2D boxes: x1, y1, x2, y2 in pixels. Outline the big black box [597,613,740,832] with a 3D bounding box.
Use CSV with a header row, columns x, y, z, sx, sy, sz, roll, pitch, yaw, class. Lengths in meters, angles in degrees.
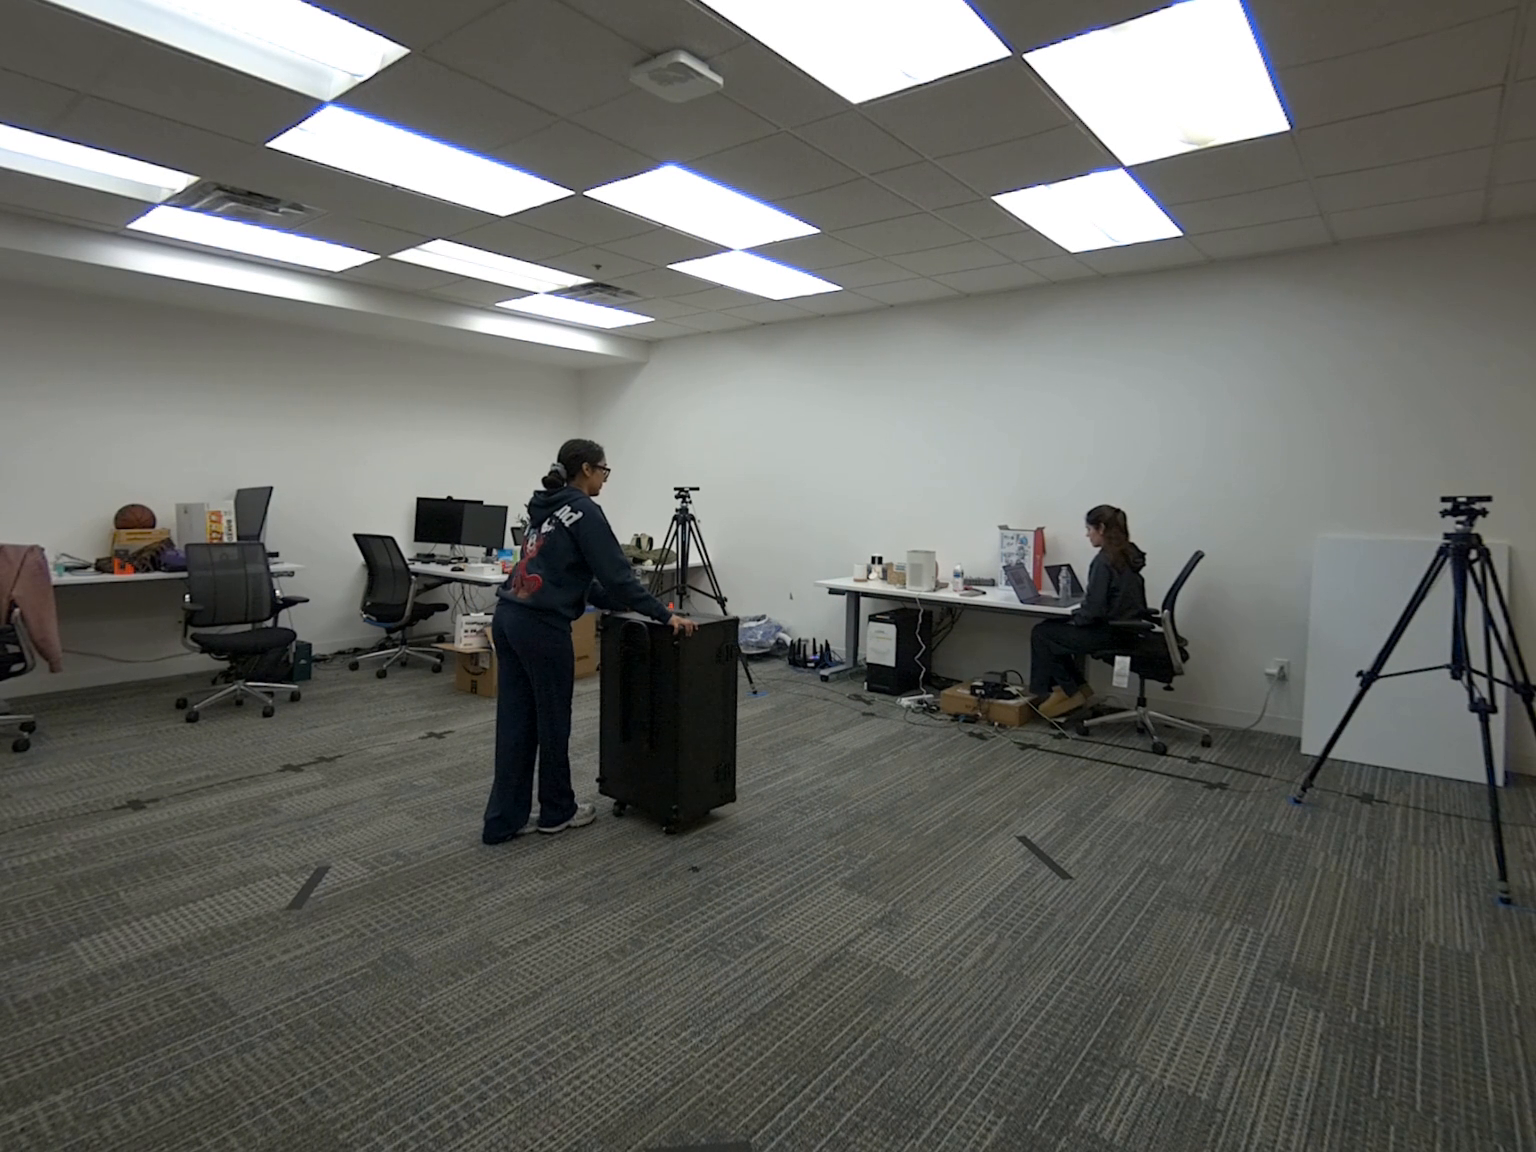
x,y,z,sx,sy,sz,roll,pitch,yaw,class
-0.441,0.591,3.601,0.539,0.859,0.384,4,4,40,big black box
